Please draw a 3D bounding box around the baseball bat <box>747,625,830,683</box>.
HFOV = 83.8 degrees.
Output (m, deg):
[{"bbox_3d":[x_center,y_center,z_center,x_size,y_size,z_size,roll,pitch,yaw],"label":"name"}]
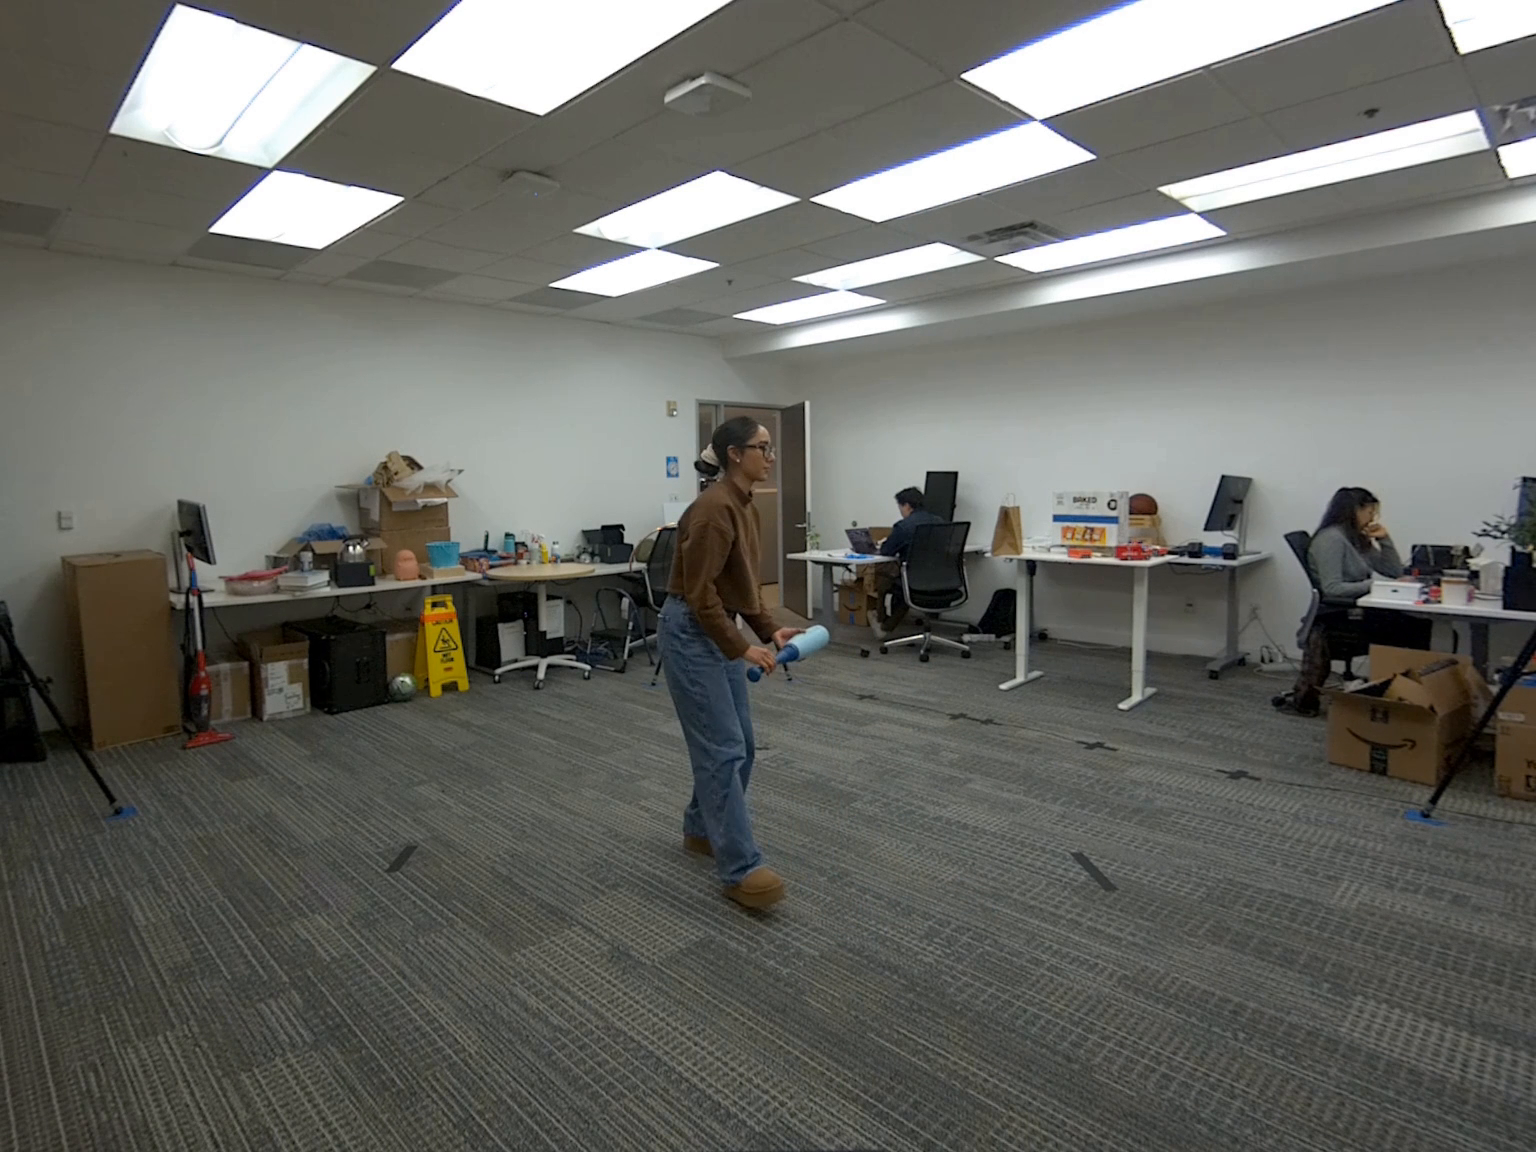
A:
[{"bbox_3d":[0.067,0.274,3.008,0.091,0.088,0.533,2,11,30],"label":"baseball bat"}]
